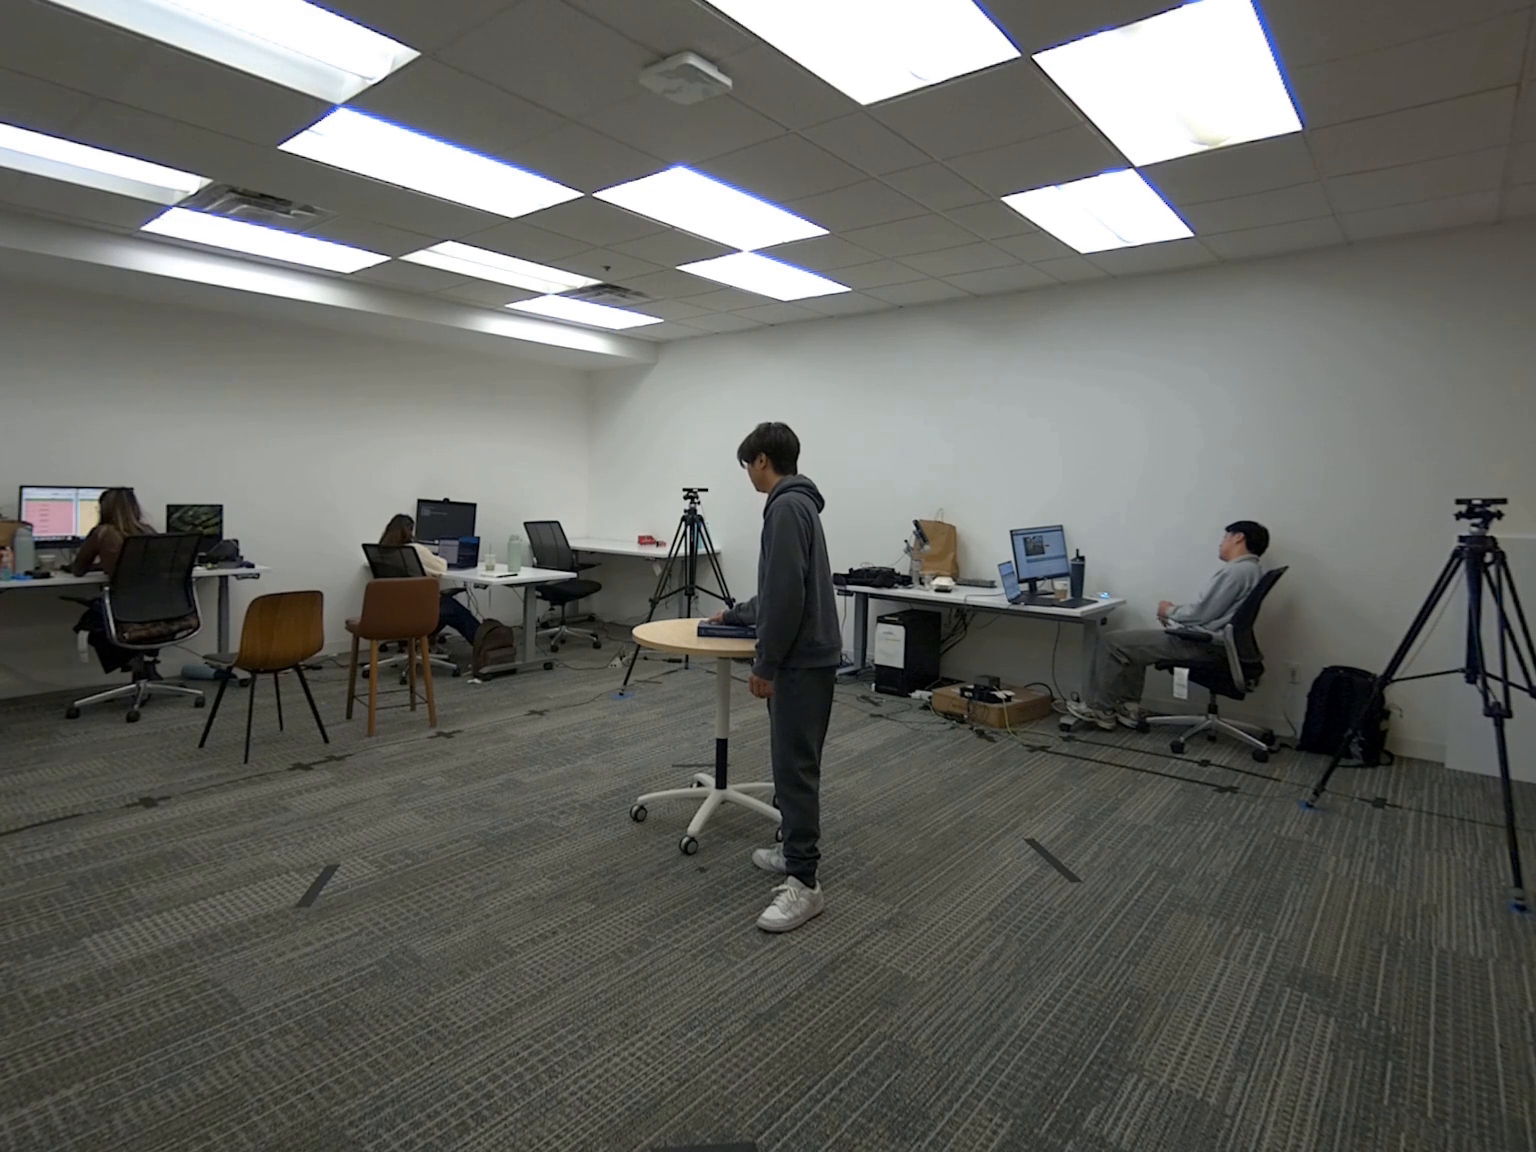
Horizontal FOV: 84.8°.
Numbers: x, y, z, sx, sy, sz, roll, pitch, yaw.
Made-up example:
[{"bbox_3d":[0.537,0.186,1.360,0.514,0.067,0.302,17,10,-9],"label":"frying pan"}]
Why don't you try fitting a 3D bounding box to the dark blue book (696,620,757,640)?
[{"bbox_3d":[-0.178,0.217,3.484,0.246,0.045,0.163,2,5,3],"label":"dark blue book"}]
